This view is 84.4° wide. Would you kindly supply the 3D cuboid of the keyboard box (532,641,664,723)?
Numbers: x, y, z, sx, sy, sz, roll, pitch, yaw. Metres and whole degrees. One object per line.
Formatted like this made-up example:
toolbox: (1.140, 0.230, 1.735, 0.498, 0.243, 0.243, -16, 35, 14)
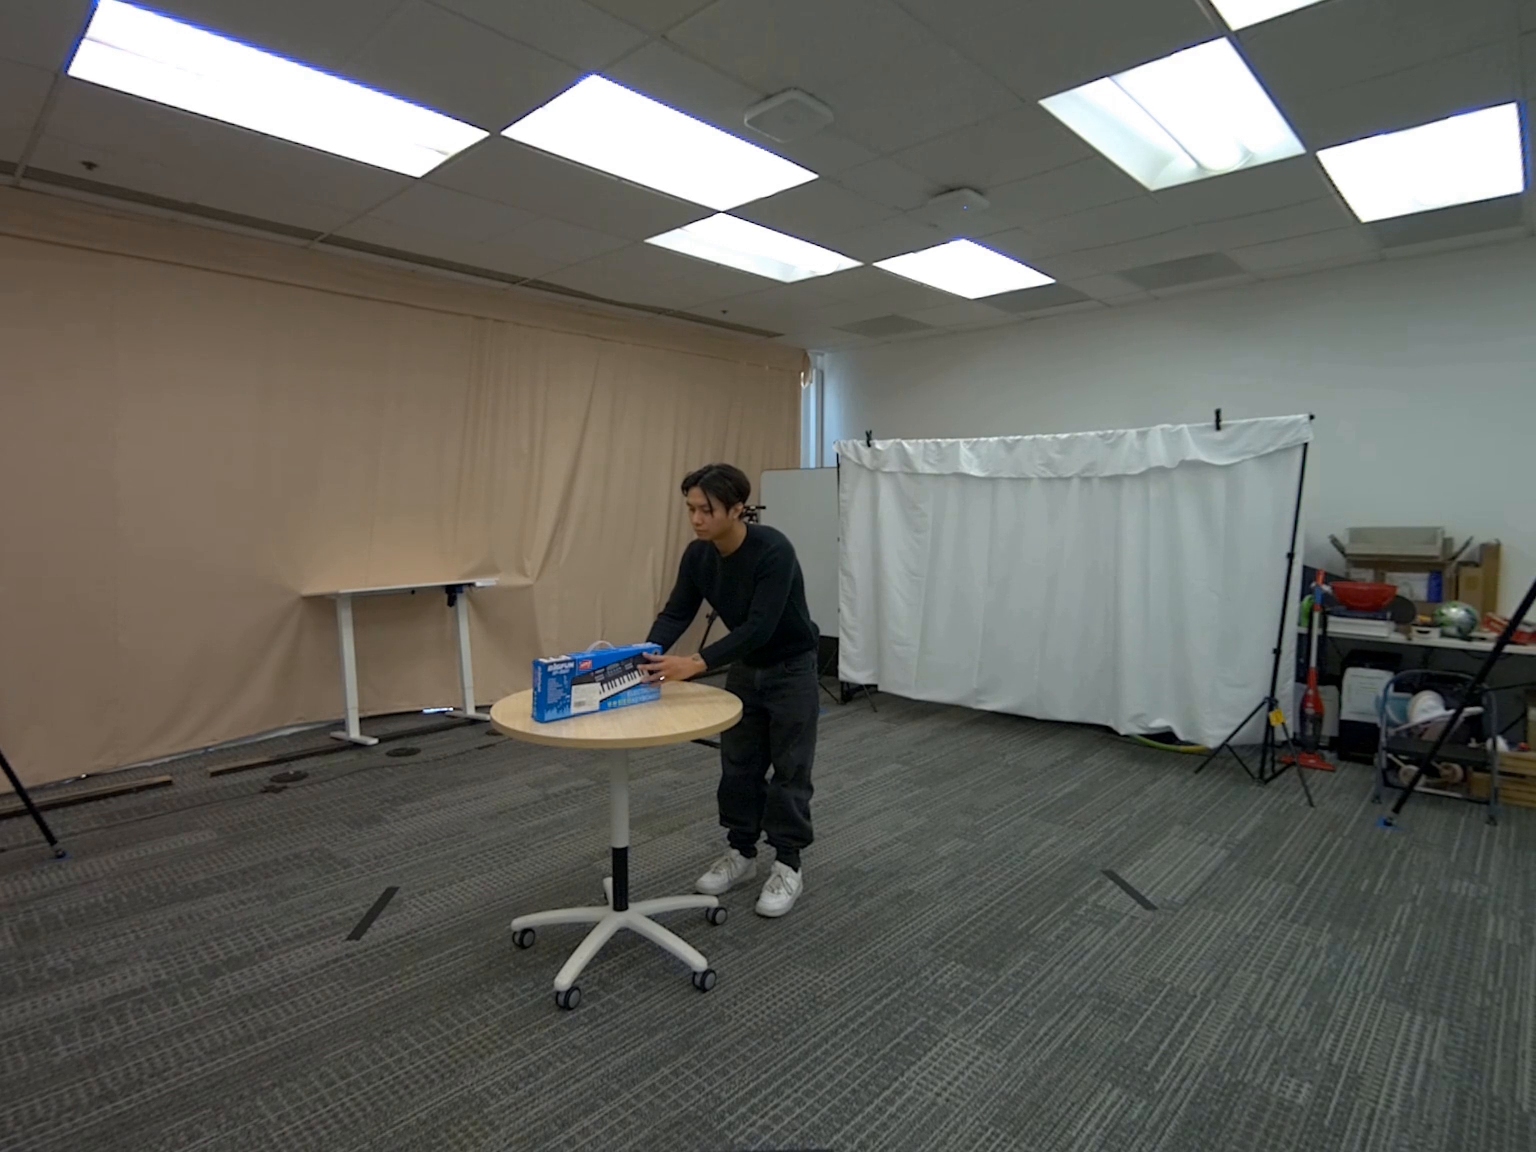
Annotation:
keyboard box: (-0.506, 0.318, 2.522, 0.061, 0.175, 0.423, 5, 7, 43)
